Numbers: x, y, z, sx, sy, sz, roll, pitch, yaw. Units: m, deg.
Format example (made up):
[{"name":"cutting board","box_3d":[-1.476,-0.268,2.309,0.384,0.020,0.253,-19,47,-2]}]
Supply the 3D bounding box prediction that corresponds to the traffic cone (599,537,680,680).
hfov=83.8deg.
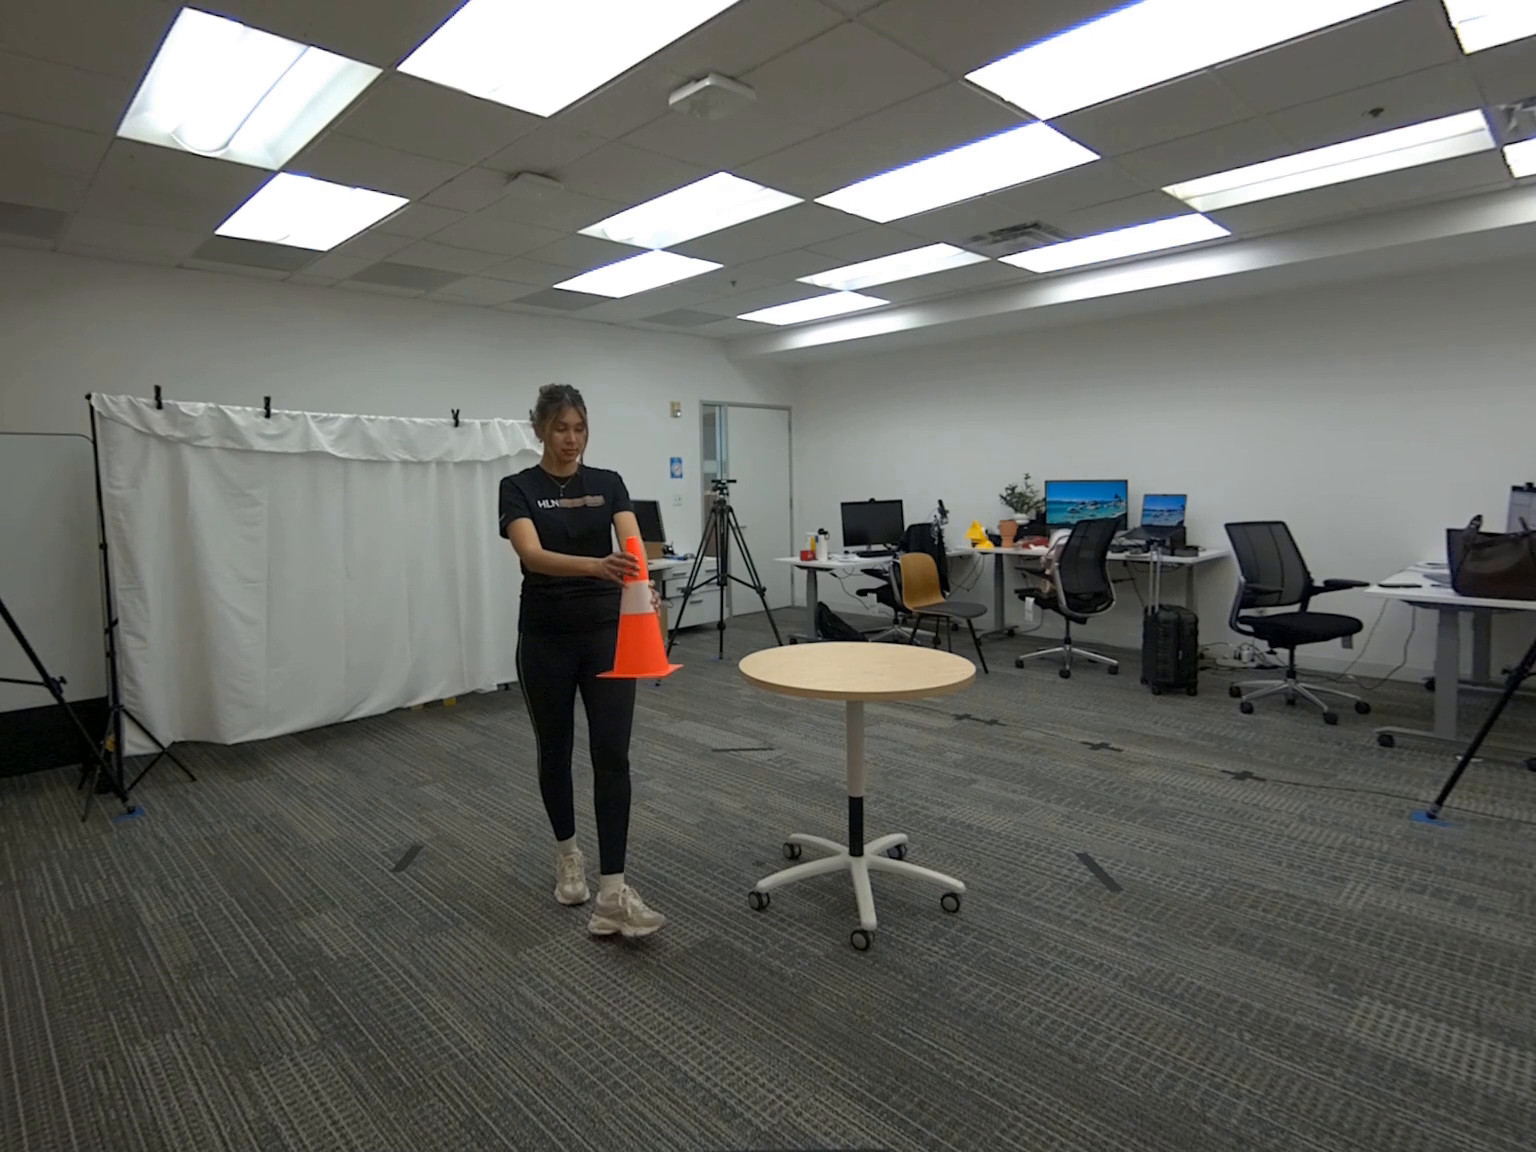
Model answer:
[{"name":"traffic cone","box_3d":[-0.365,0.081,2.403,0.205,0.384,0.203,-4,-1,10]}]
